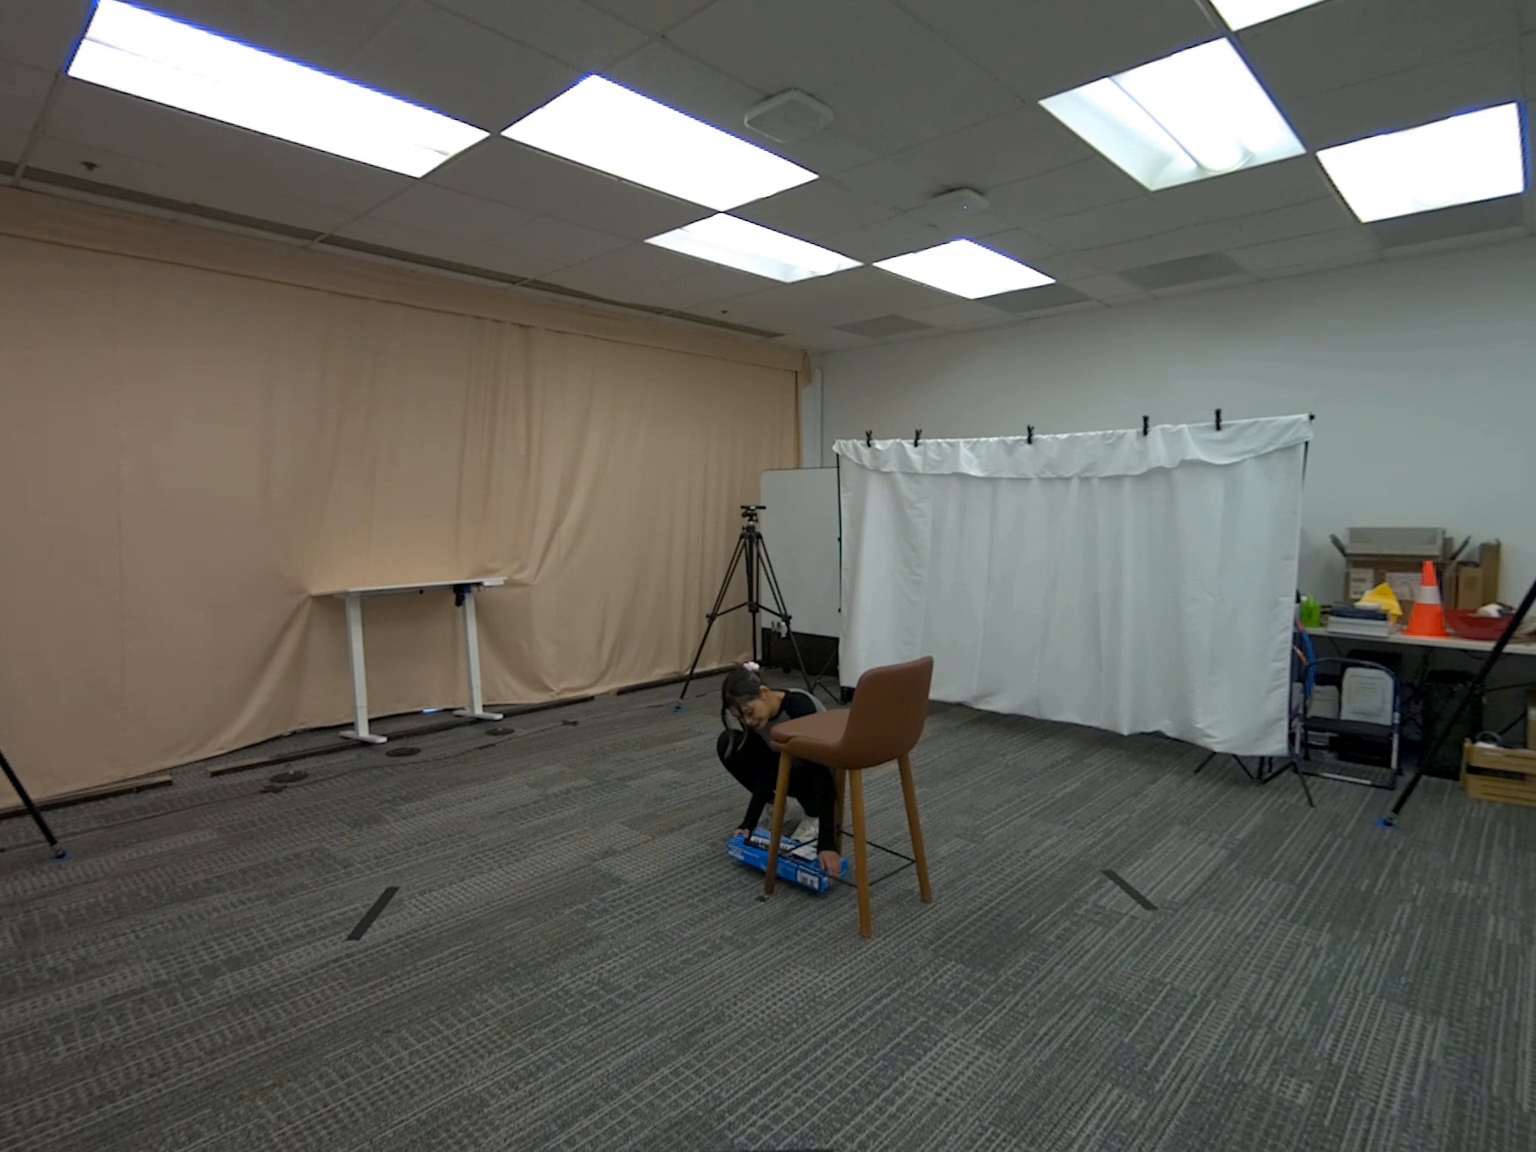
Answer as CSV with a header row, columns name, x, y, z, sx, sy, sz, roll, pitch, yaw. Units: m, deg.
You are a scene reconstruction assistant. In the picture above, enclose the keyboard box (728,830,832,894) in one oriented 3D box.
name,x,y,z,sx,sy,sz,roll,pitch,yaw
keyboard box,0.073,1.047,3.151,0.452,0.059,0.171,6,8,41
